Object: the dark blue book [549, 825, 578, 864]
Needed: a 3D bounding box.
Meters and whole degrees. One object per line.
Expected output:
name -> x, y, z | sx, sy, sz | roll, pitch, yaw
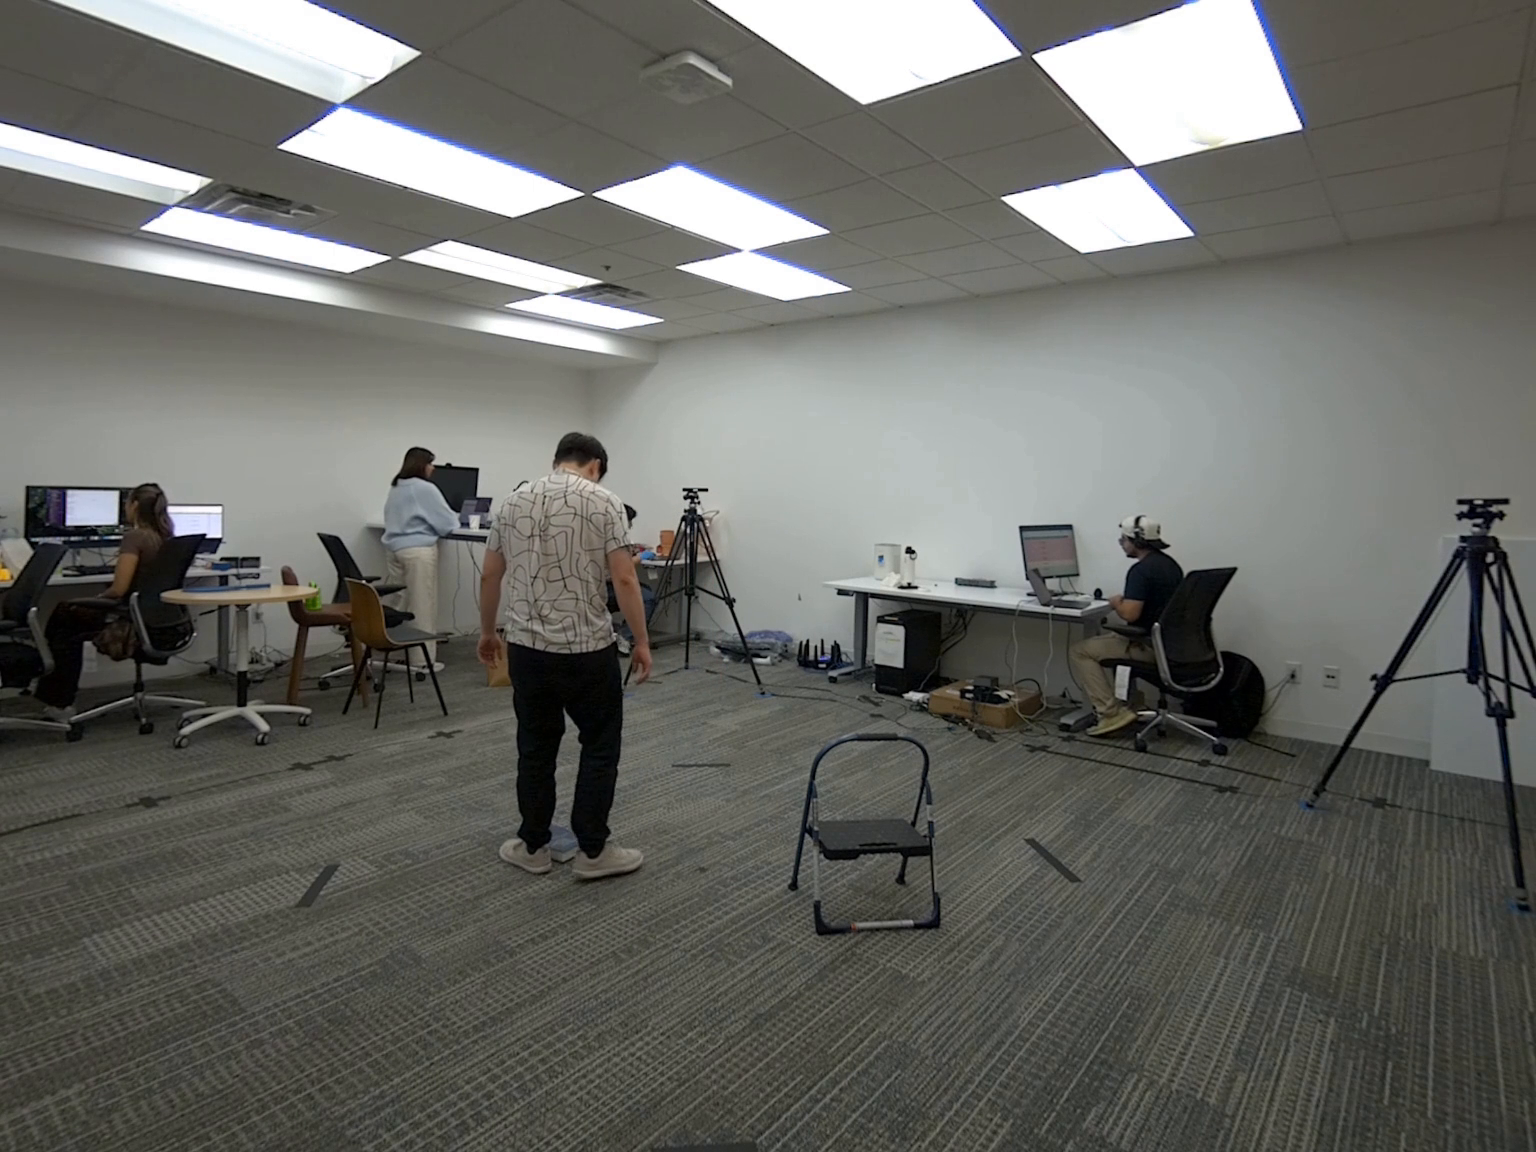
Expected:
dark blue book -> -0.827, 1.019, 3.258 | 0.252, 0.045, 0.159 | 4, 7, 32
